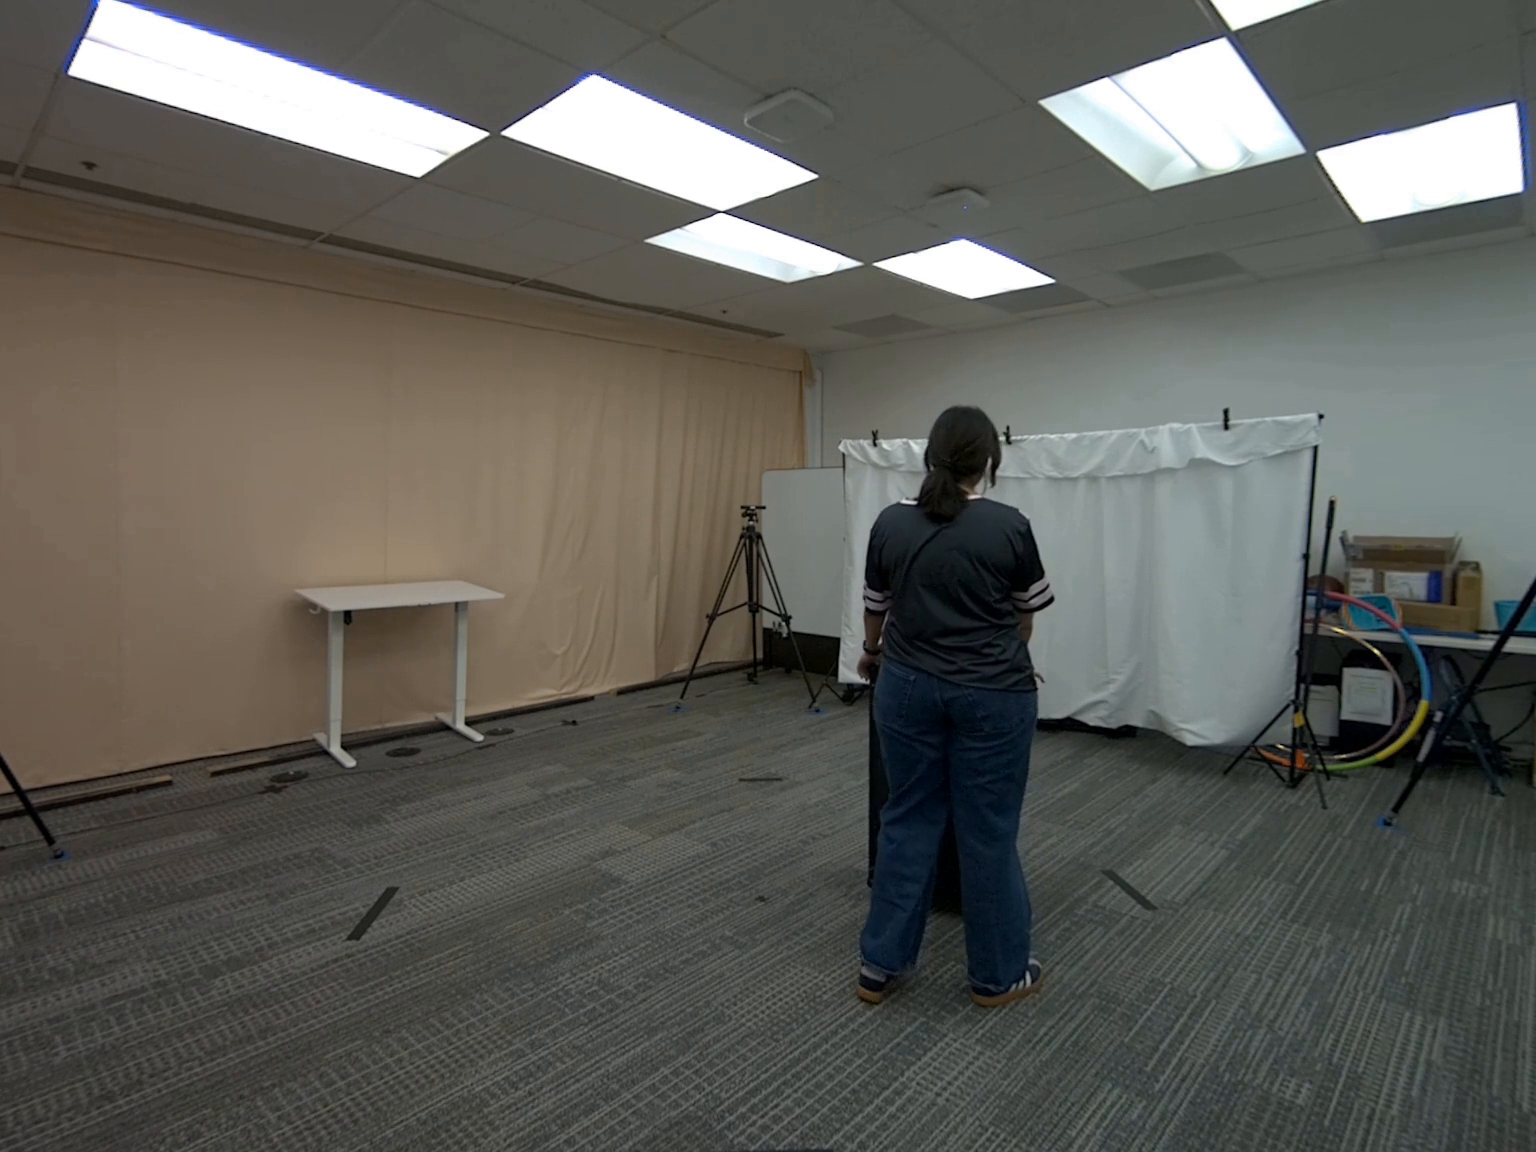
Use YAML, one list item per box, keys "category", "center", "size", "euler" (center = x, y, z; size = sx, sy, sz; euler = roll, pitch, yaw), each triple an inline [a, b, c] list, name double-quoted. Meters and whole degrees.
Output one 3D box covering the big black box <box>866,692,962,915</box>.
- category: "big black box"
  center: [0.637, 0.720, 2.971]
  size: [0.533, 0.866, 0.379]
  euler: [0, 3, 17]
